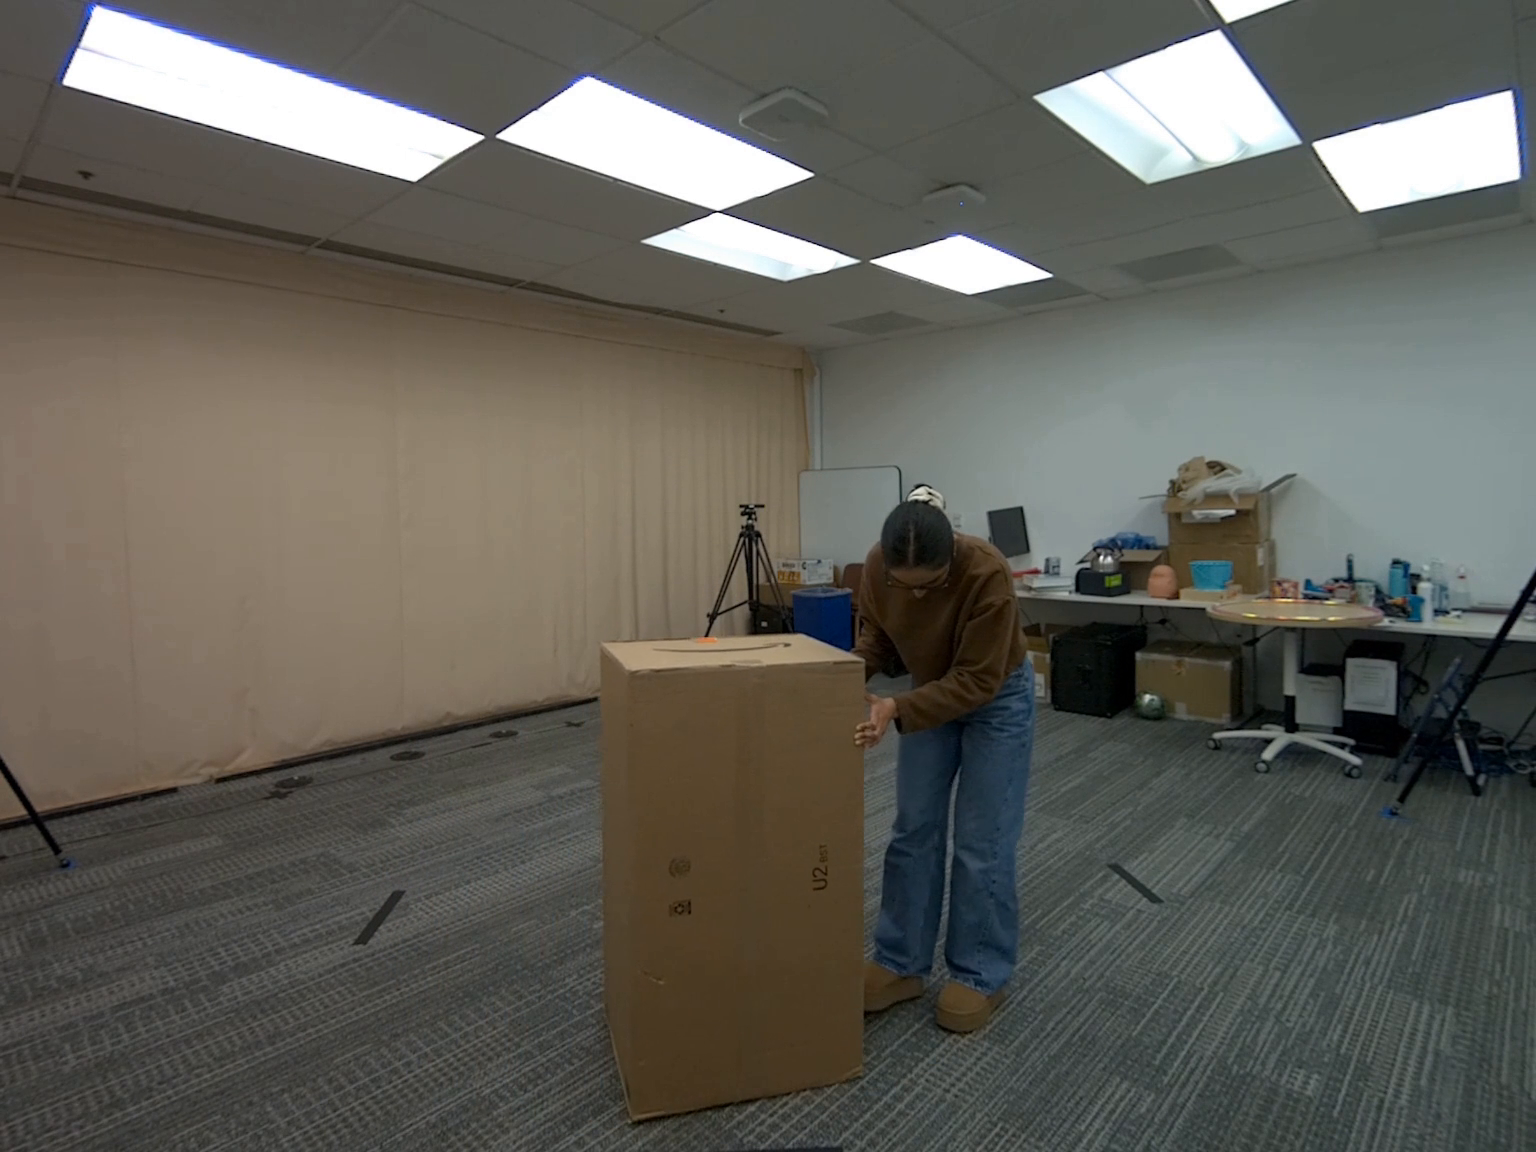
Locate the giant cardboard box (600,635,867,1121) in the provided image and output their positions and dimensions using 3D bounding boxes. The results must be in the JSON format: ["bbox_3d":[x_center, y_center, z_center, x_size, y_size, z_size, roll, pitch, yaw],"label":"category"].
[{"bbox_3d":[-0.108,0.701,2.144,0.568,1.024,0.434,-1,3,-17],"label":"giant cardboard box"}]
